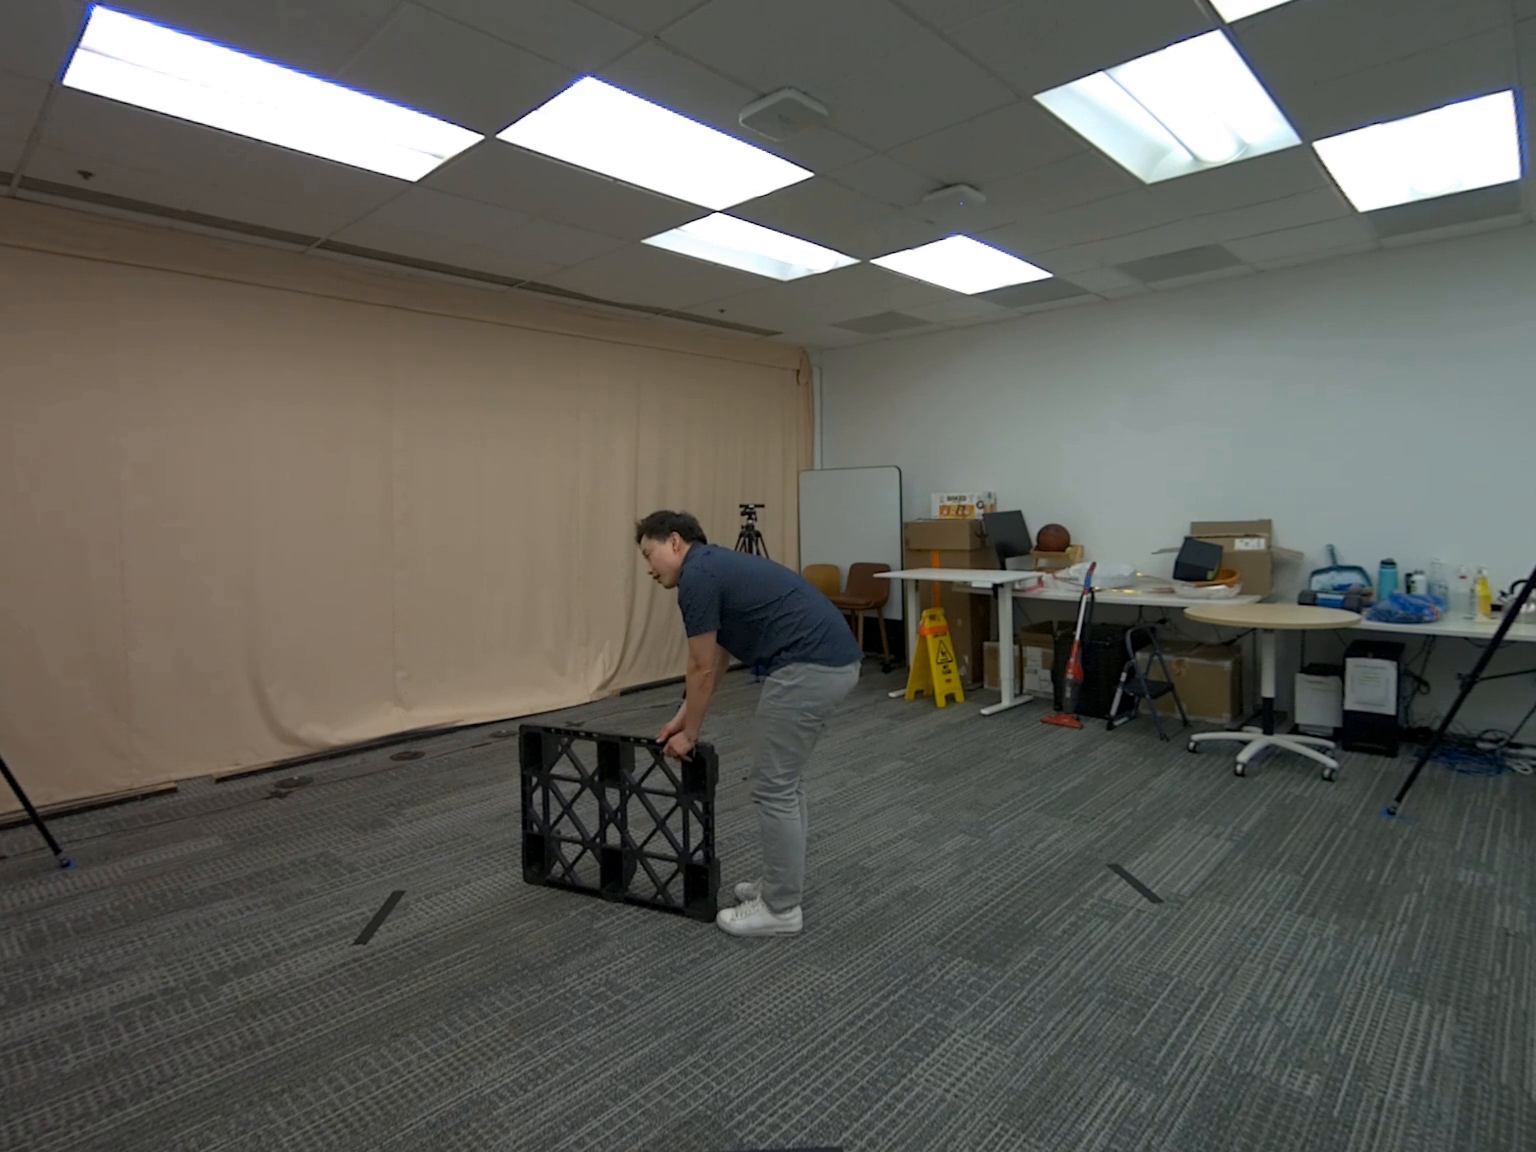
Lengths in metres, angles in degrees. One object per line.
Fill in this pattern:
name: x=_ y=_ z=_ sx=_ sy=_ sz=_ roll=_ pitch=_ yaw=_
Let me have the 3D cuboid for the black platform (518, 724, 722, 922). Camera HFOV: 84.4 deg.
black platform: x=-0.541 y=0.847 z=3.024 sx=0.825 sy=0.604 sz=0.140 roll=0 pitch=2 yaw=25
